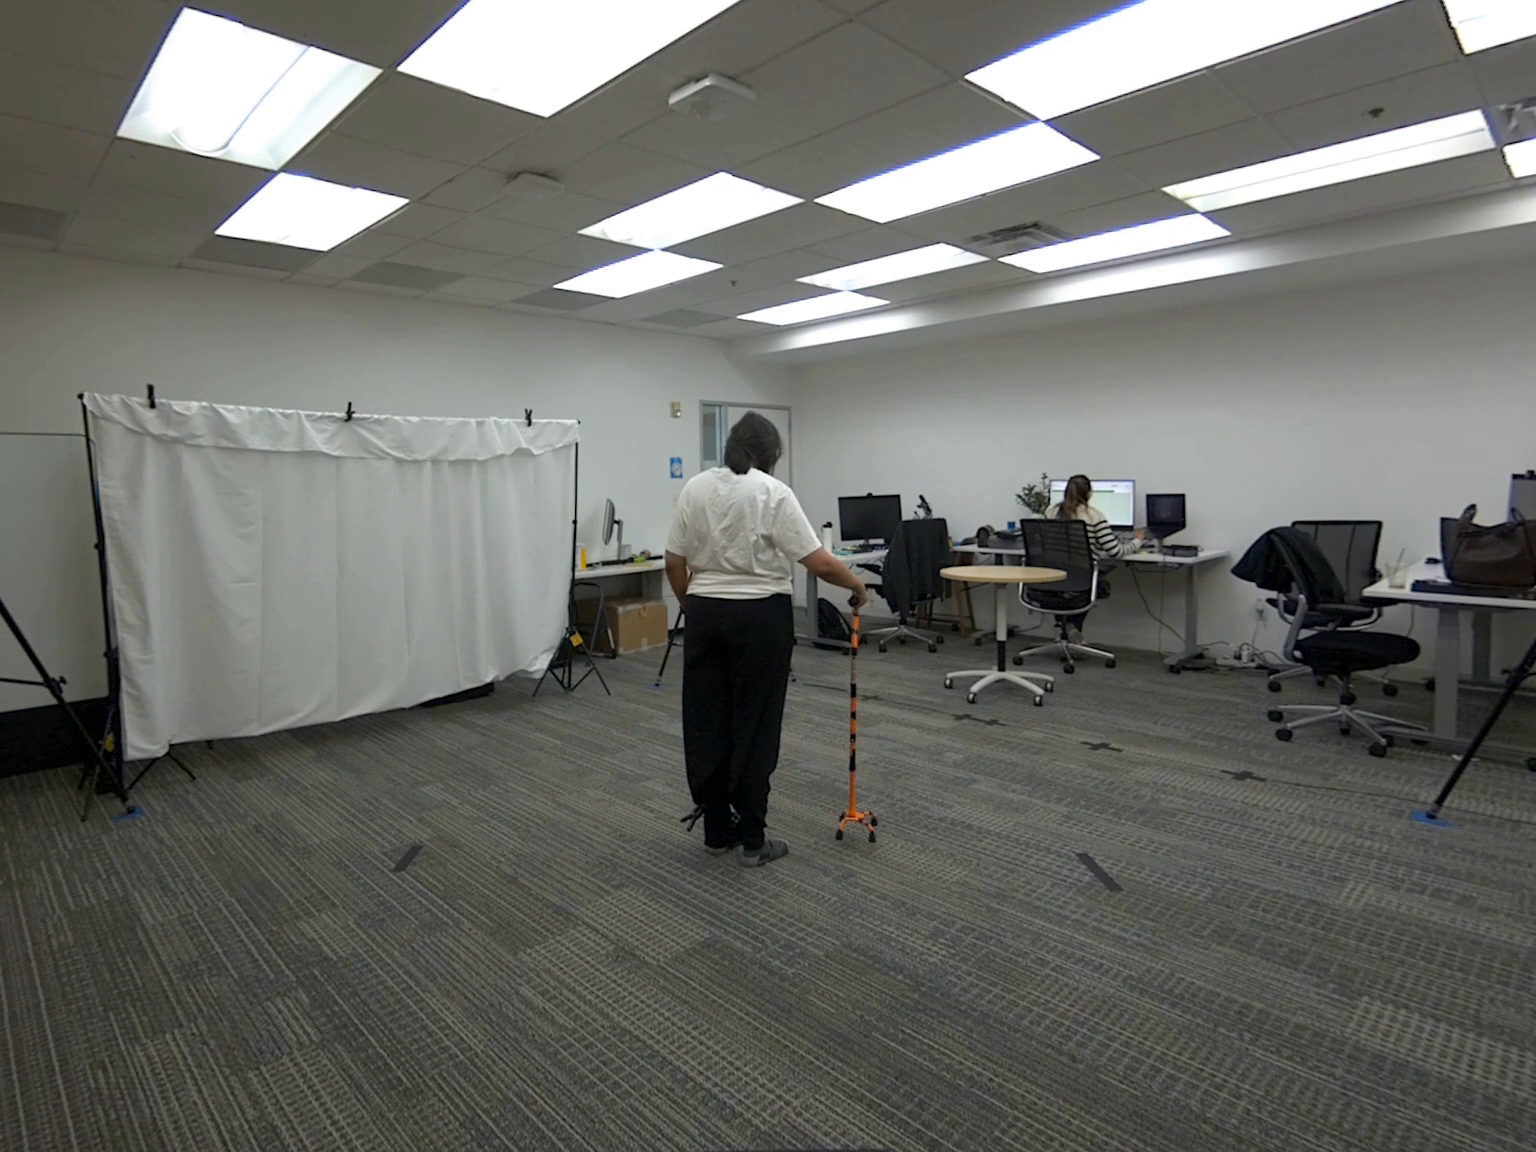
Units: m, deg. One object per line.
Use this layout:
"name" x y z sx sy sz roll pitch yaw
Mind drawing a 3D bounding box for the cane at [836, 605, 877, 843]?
"cane" 0.348 0.528 3.270 0.153 0.907 0.204 1 1 9
